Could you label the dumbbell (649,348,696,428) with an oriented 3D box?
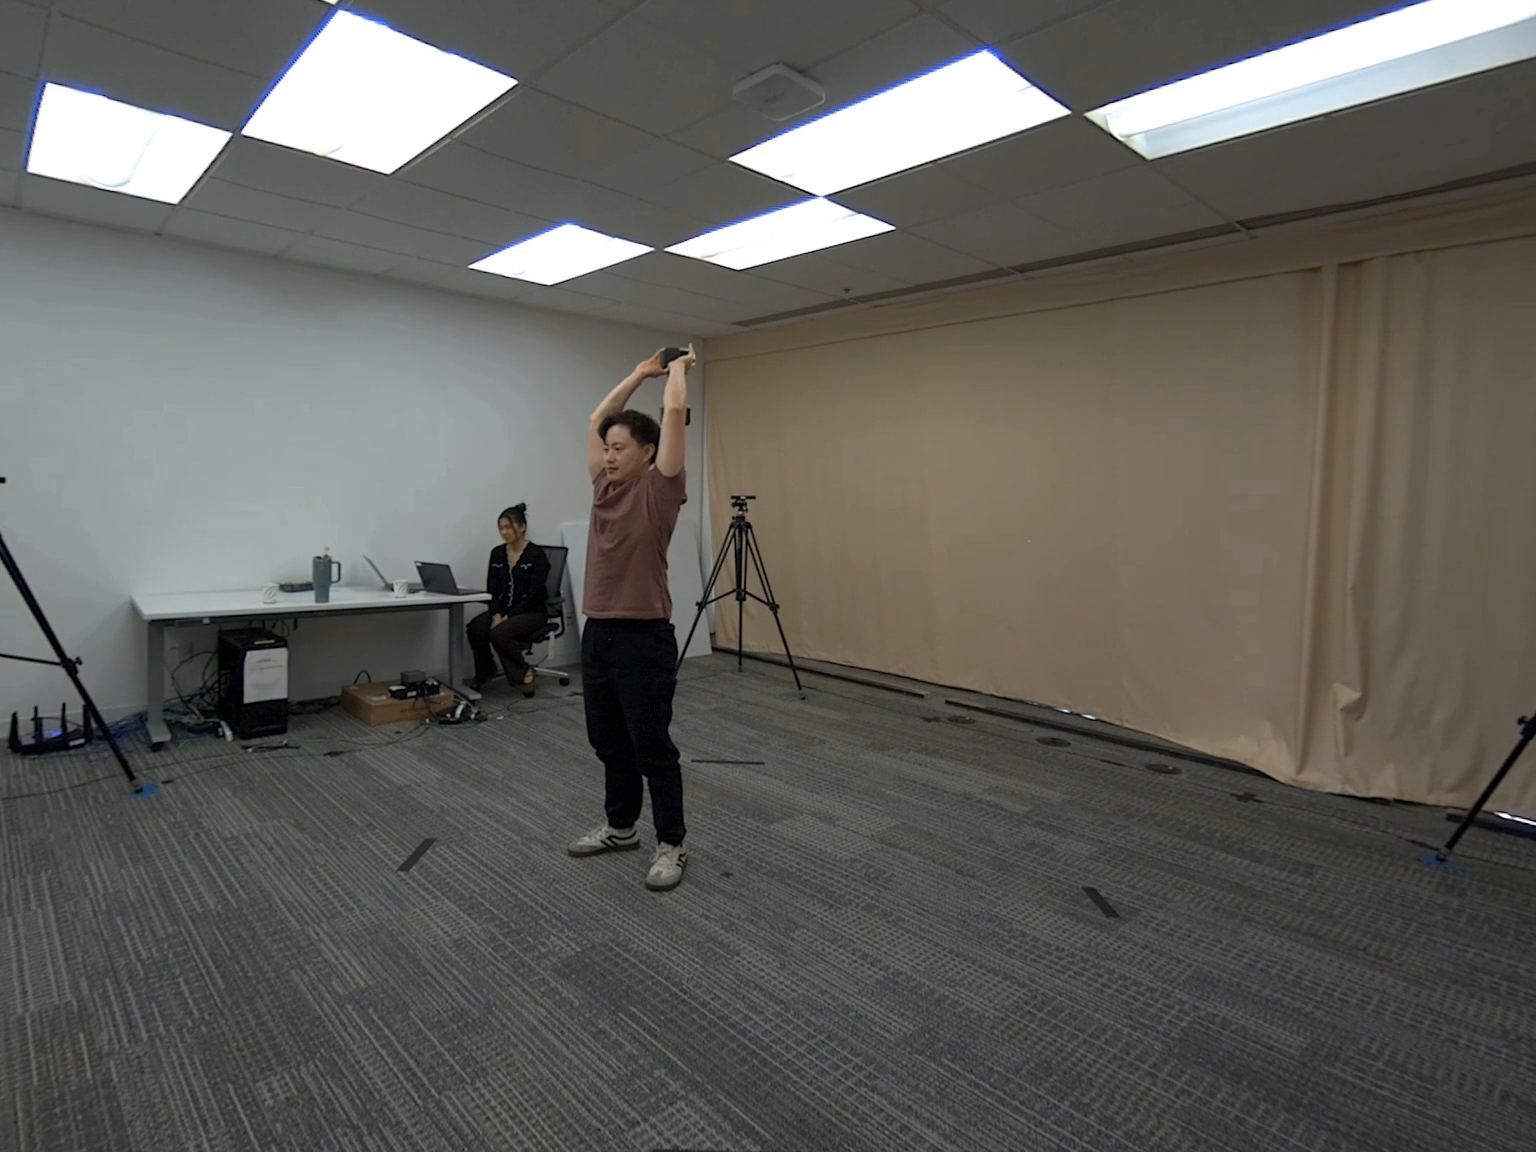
[{"bbox_3d":[-0.363,-0.716,3.221,0.112,0.291,0.121,10,16,43],"label":"dumbbell"}]
